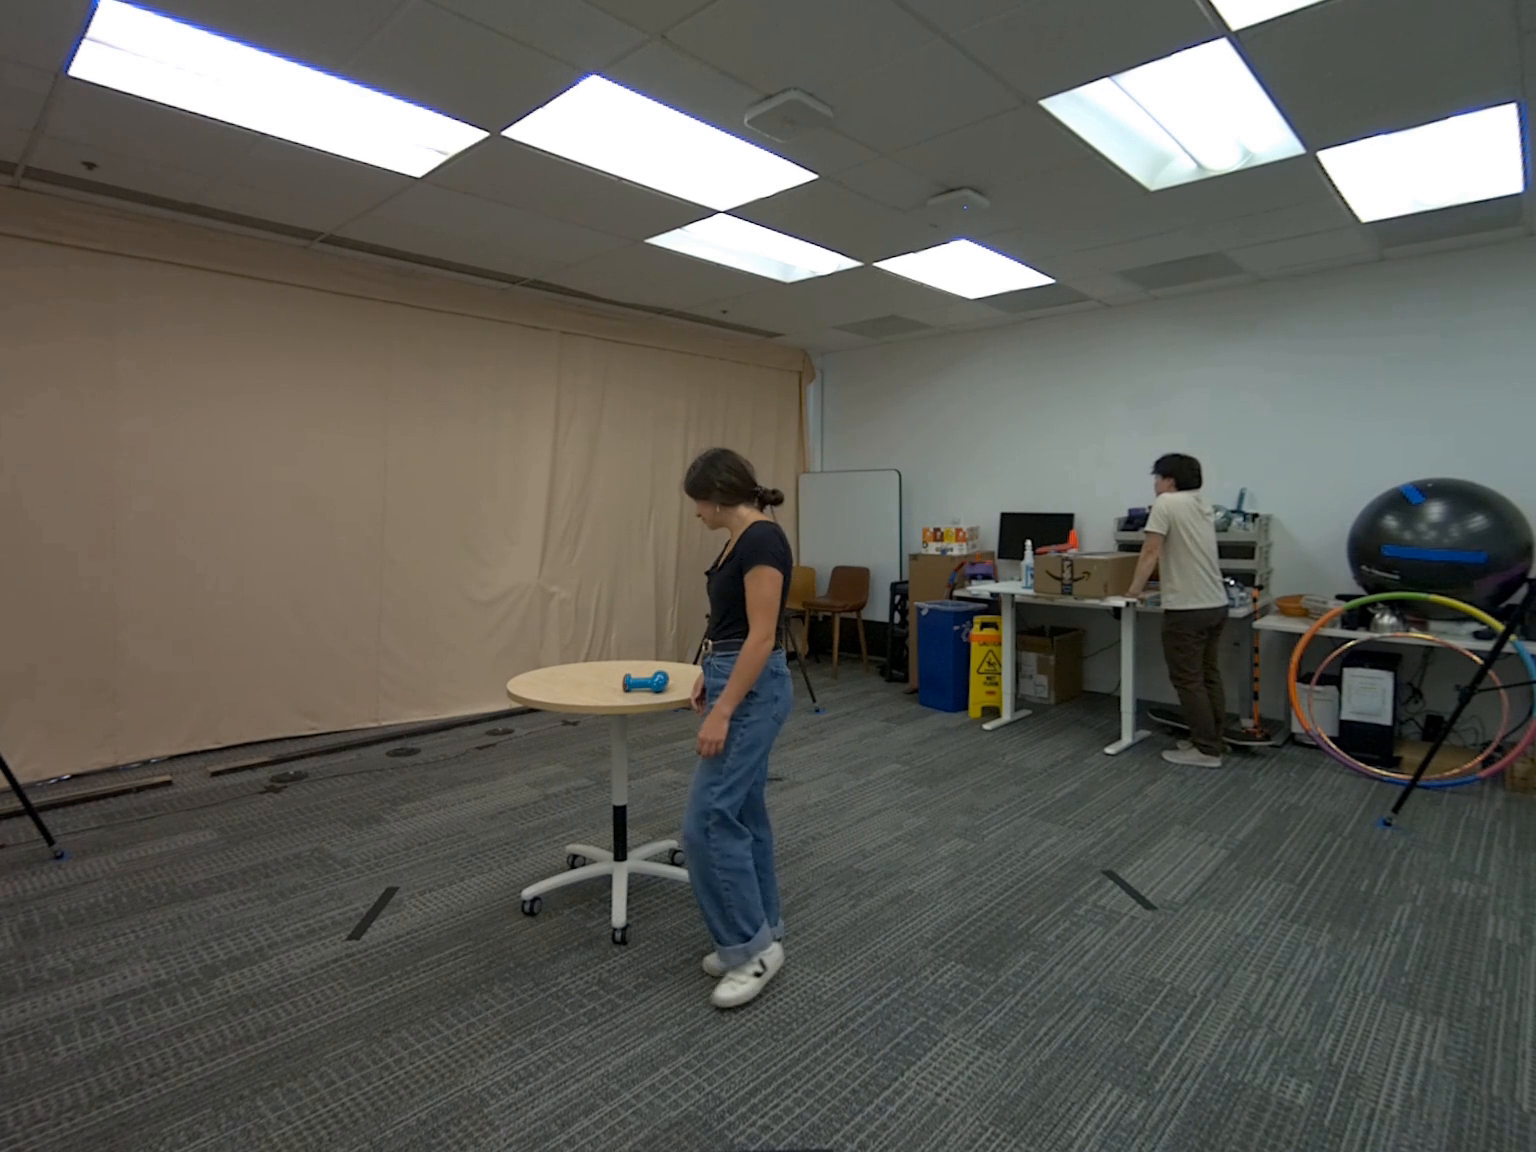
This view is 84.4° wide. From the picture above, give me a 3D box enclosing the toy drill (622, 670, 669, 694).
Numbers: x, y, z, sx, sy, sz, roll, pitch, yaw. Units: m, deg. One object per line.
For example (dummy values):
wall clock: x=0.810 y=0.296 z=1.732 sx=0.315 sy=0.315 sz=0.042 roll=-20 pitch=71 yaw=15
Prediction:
toy drill: x=-0.390 y=0.347 z=2.819 sx=0.147 sy=0.061 sz=0.169 roll=0 pitch=12 yaw=7
